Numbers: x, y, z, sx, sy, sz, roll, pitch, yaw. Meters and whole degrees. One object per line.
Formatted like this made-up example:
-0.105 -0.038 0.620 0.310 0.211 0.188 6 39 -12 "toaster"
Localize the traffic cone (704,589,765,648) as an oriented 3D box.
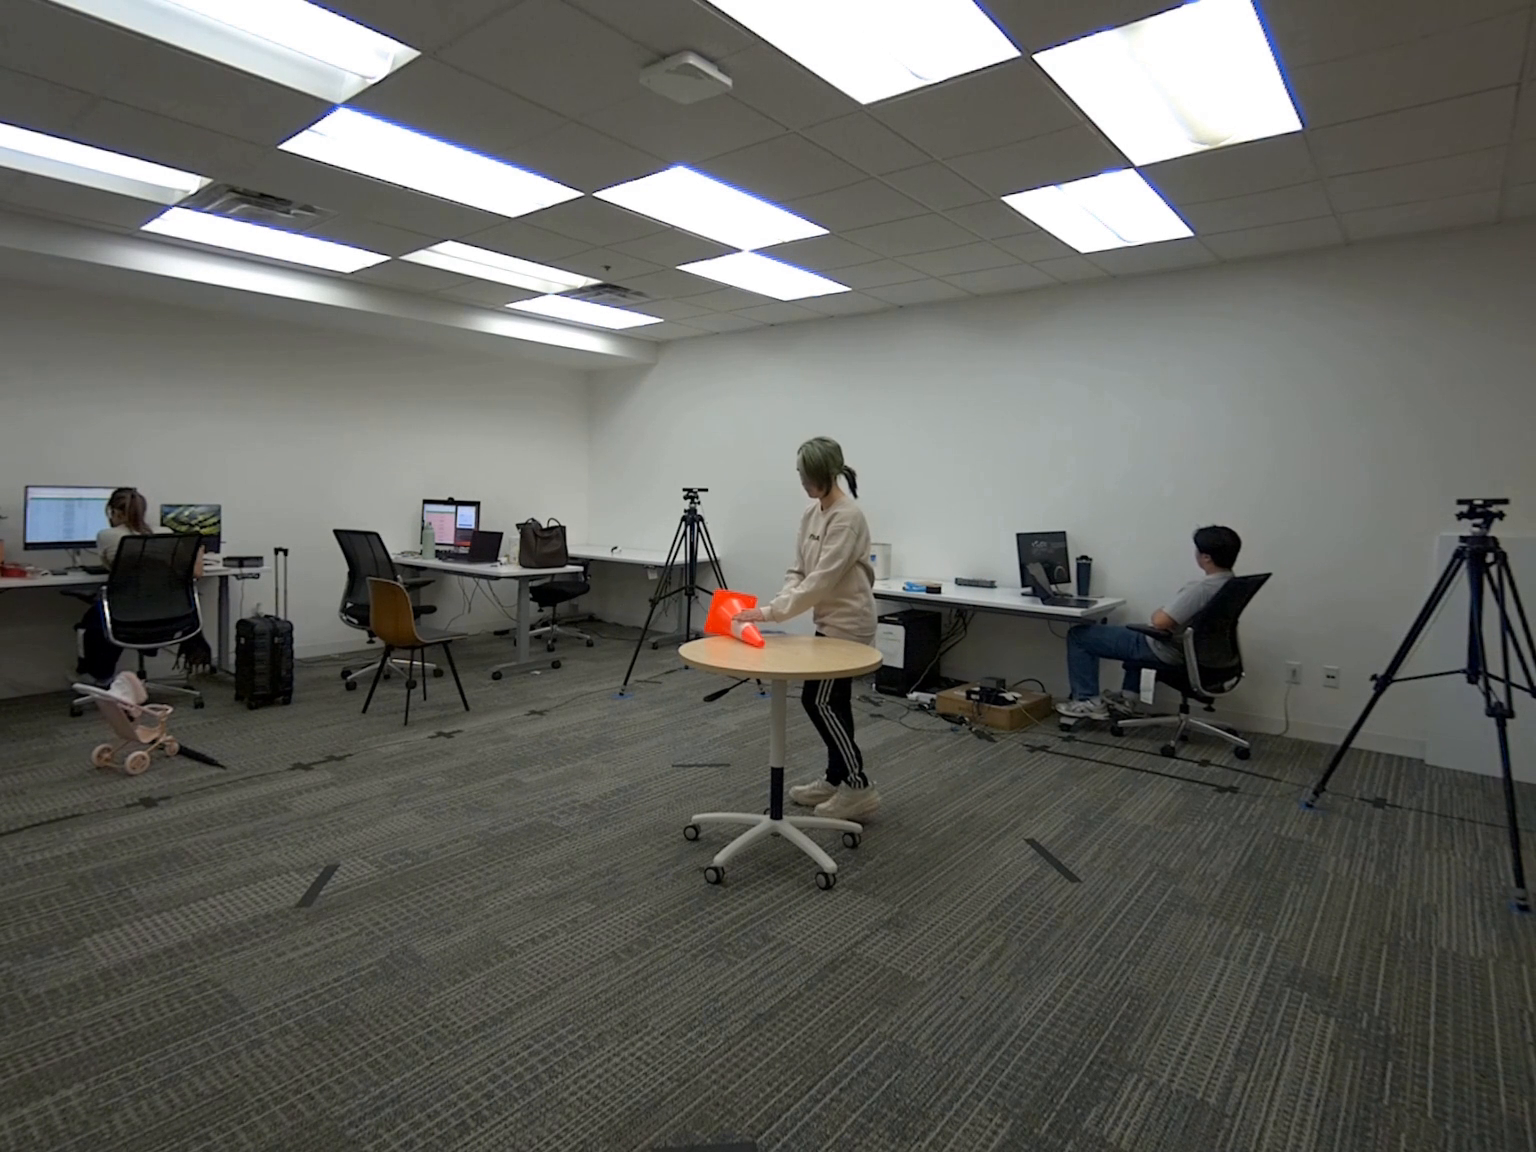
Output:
-0.103 0.209 3.442 0.198 0.204 0.394 16 7 -21 "traffic cone"
